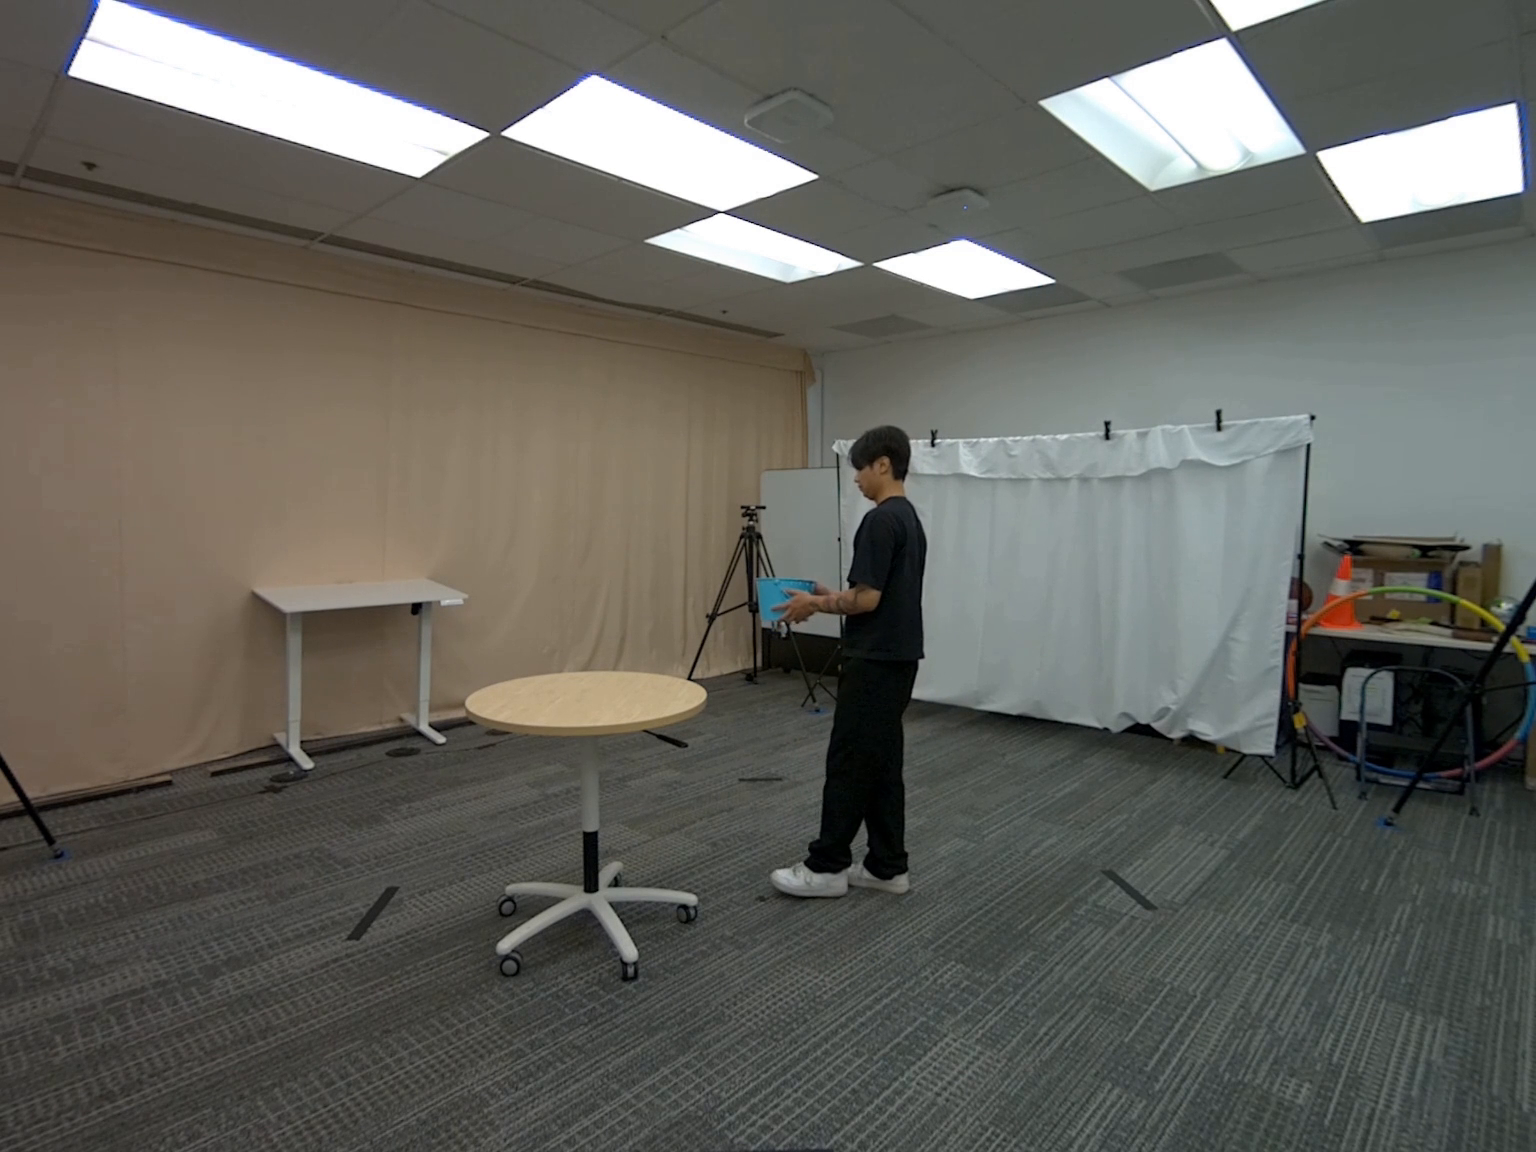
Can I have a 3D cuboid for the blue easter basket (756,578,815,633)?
[{"bbox_3d":[0.083,0.095,3.180,0.243,0.156,0.243,2,-3,-2],"label":"blue easter basket"}]
